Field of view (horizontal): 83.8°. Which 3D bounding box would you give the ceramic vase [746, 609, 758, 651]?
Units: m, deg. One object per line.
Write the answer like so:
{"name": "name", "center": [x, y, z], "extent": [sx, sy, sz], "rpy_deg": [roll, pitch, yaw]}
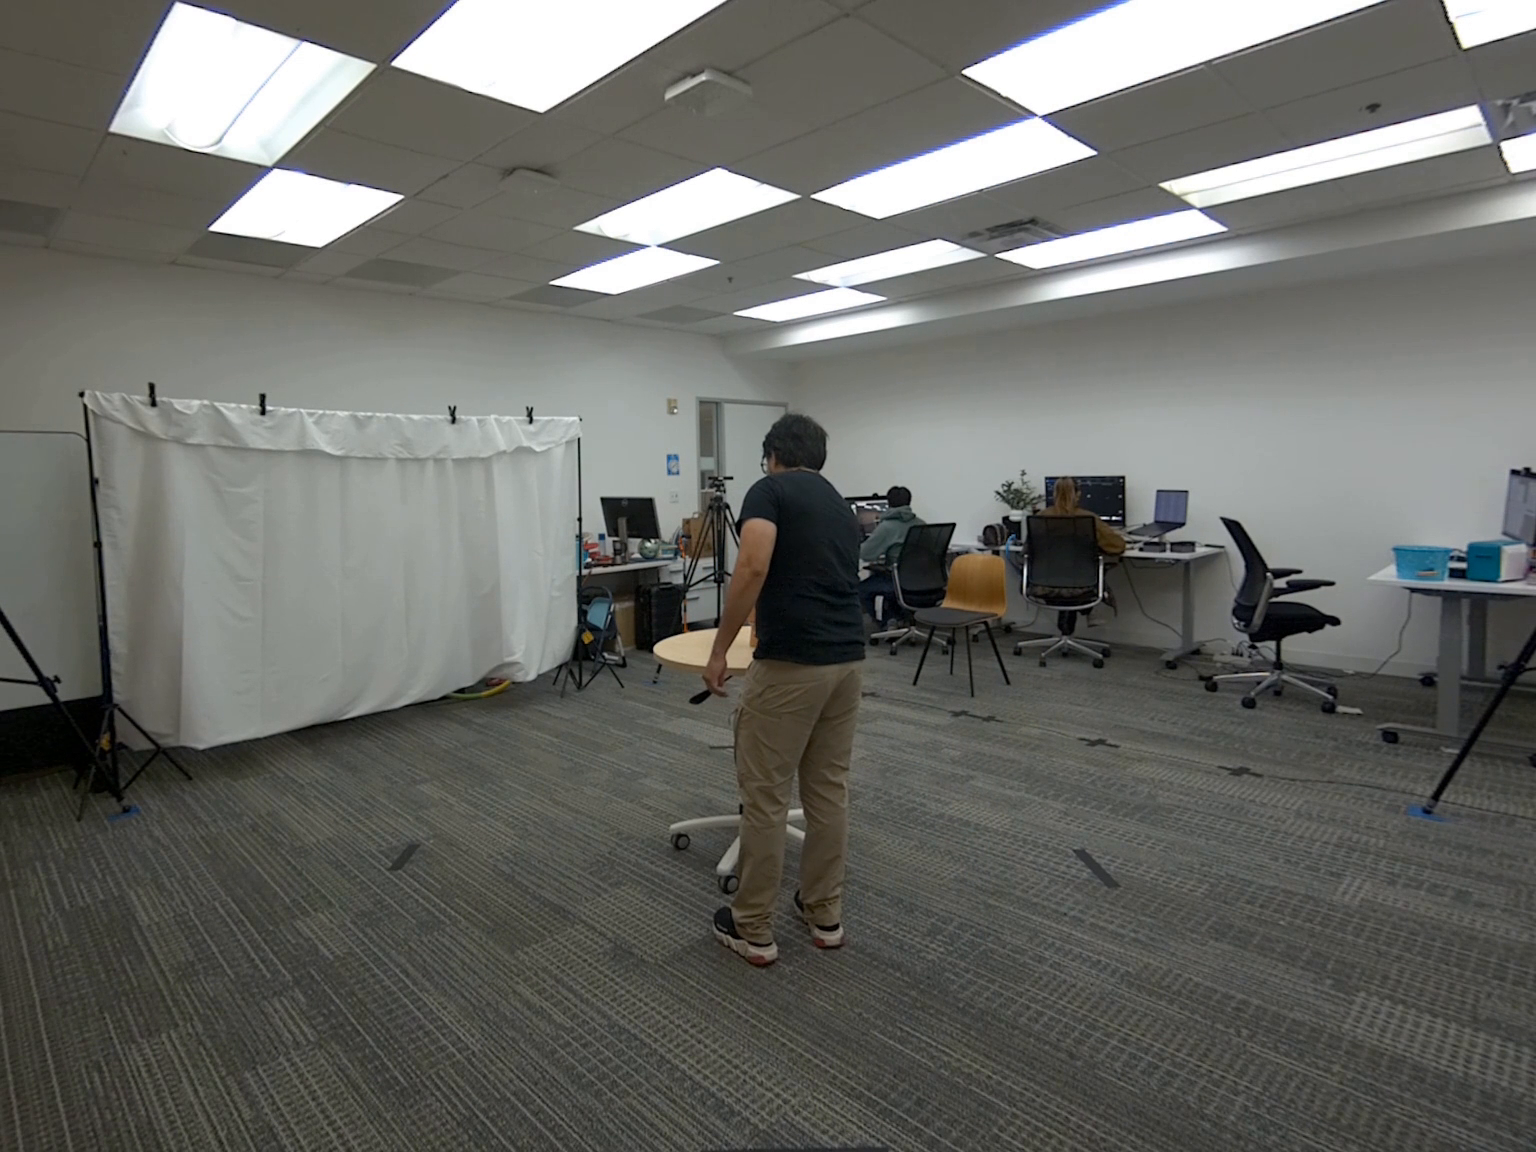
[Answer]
{"name": "ceramic vase", "center": [-0.013, 0.141, 3.109], "extent": [0.138, 0.219, 0.155], "rpy_deg": [2, 6, 39]}
